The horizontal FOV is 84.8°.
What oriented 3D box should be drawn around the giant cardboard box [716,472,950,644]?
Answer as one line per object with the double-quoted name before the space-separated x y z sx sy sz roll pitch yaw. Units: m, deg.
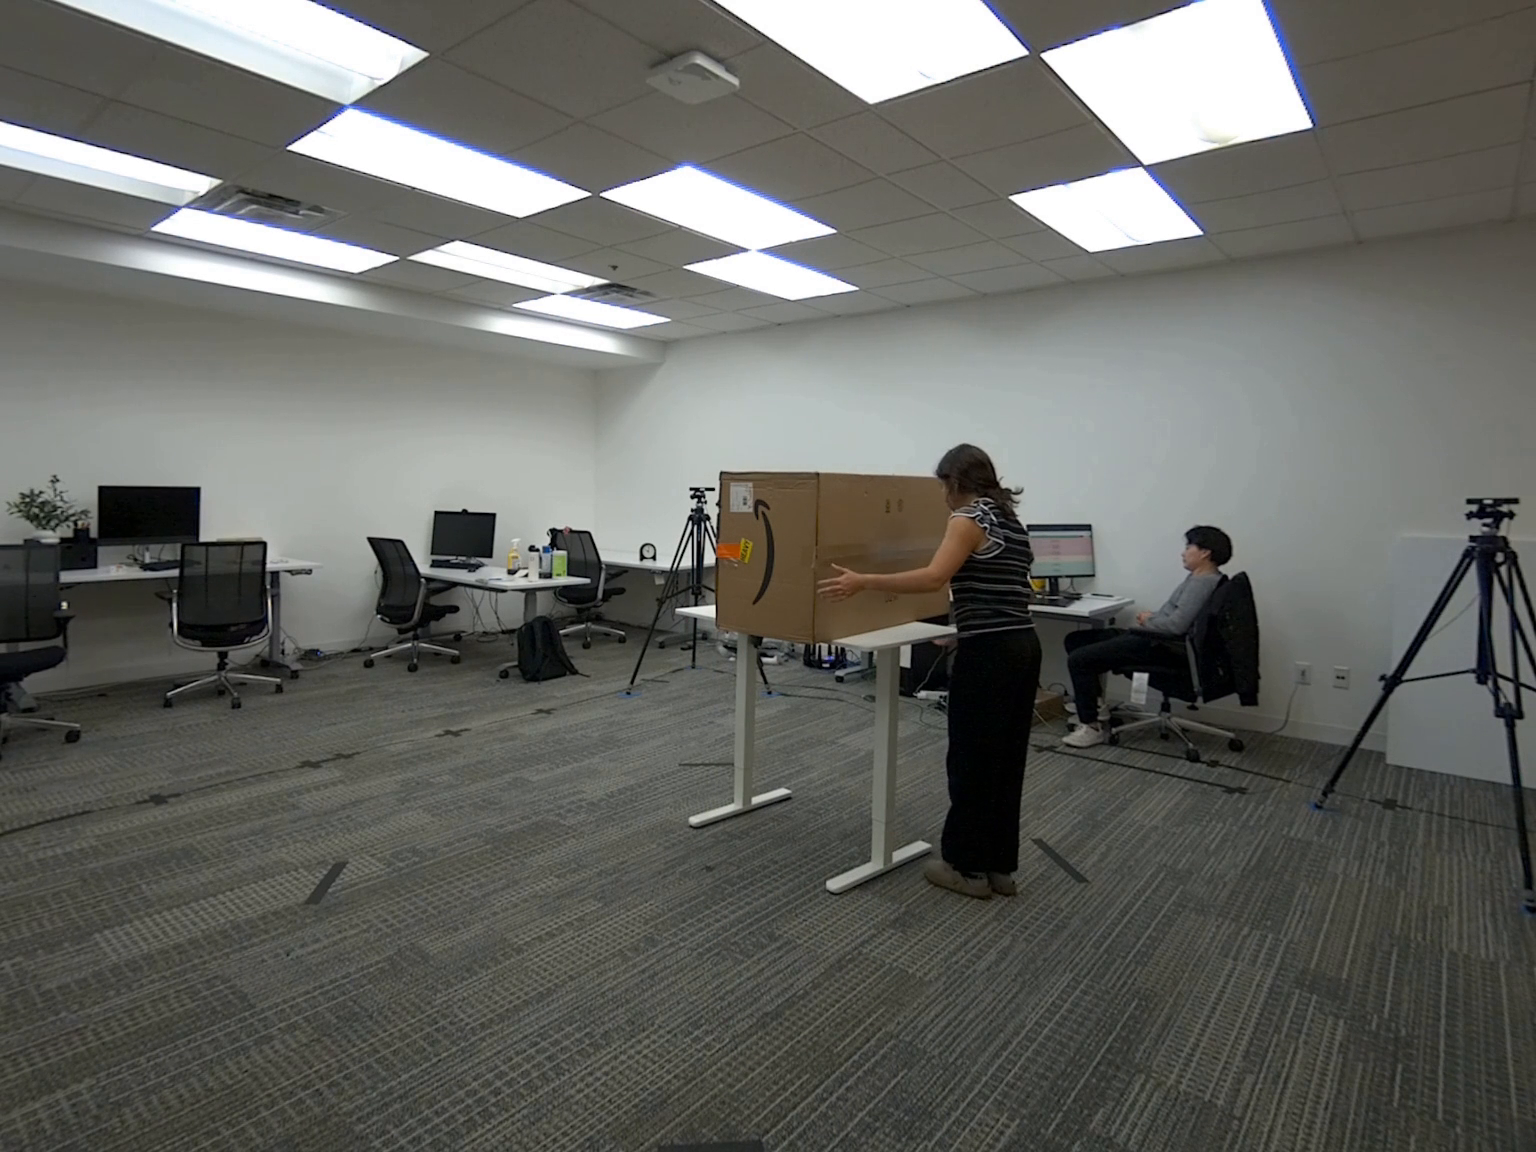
"giant cardboard box" 0.275 -0.114 3.310 0.440 0.575 0.996 4 6 38
